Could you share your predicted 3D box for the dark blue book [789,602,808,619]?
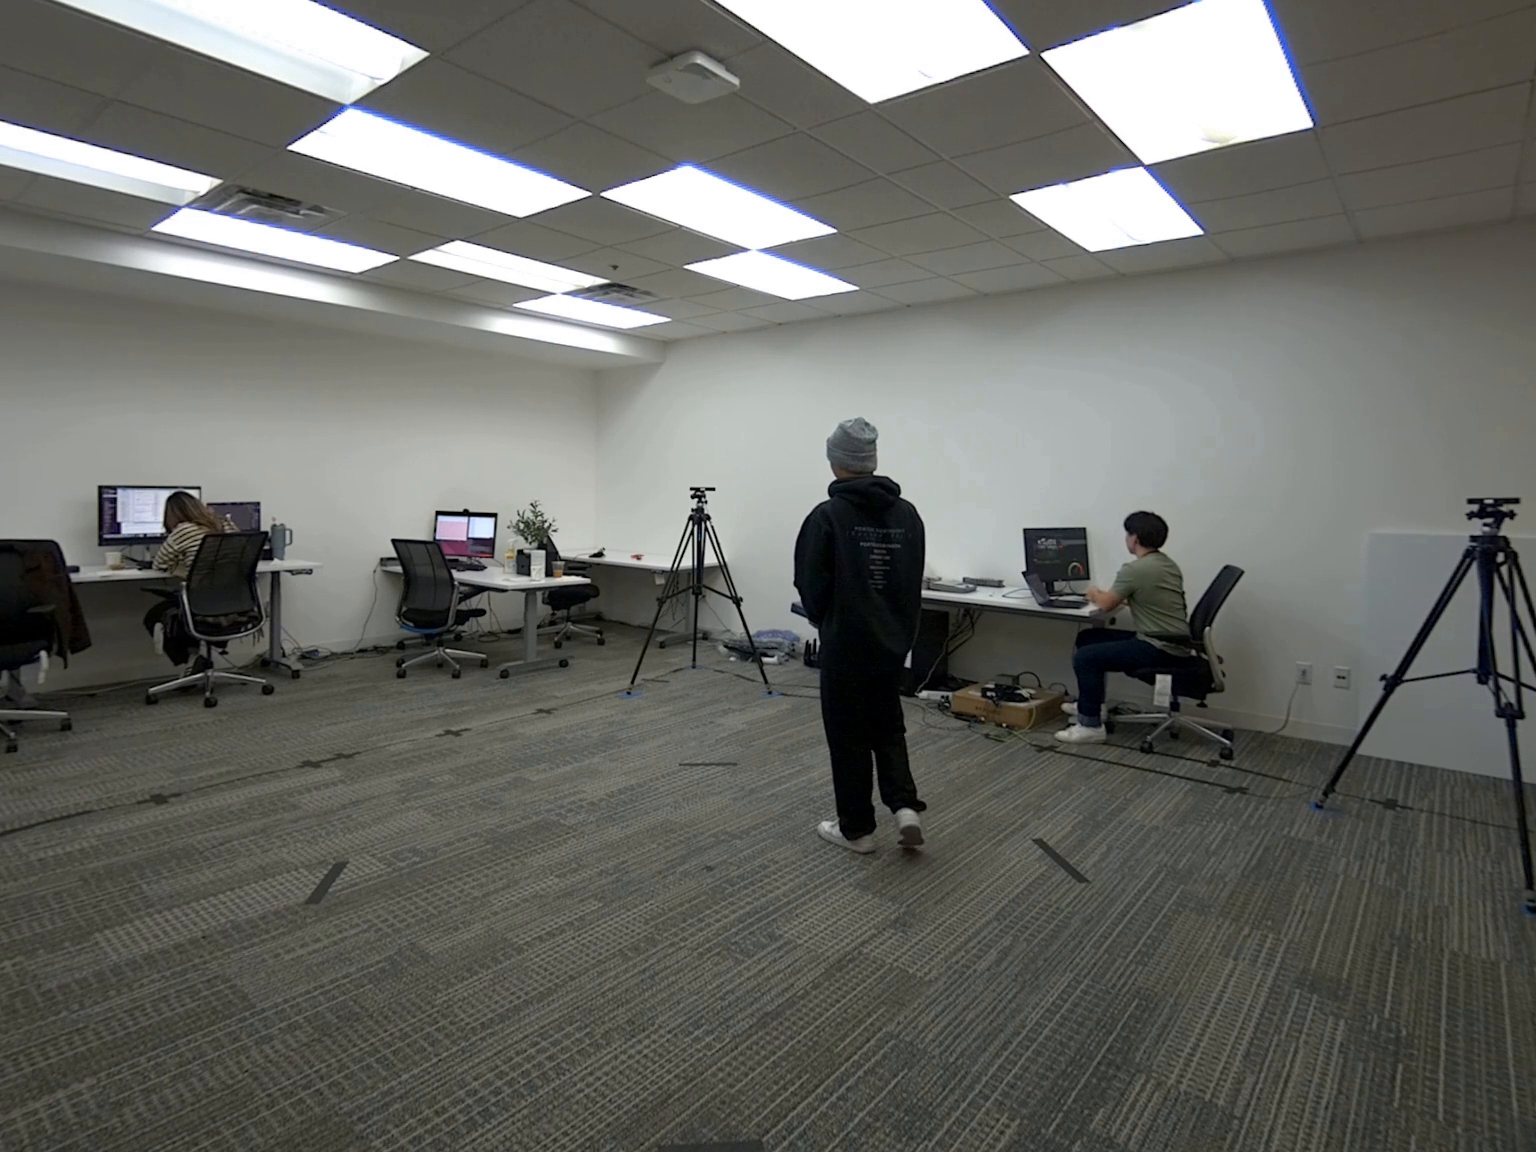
[{"bbox_3d":[0.229,0.145,3.589,0.159,0.045,0.254,-5,14,-30],"label":"dark blue book"}]
